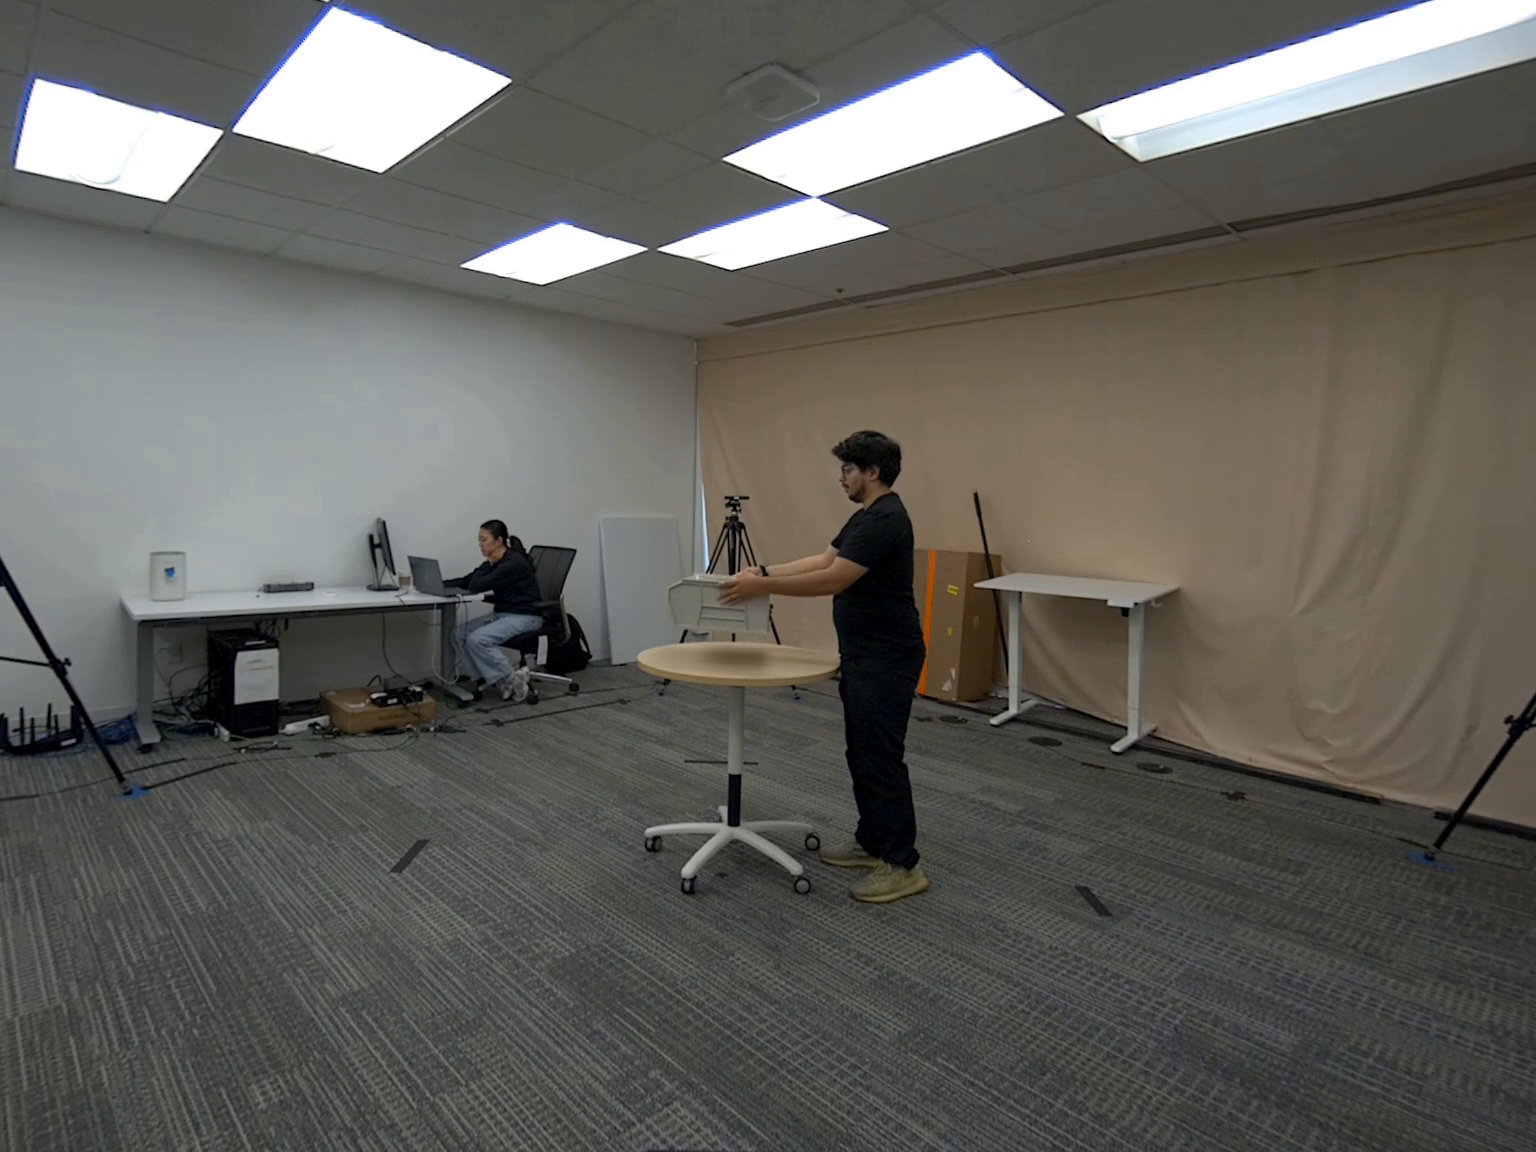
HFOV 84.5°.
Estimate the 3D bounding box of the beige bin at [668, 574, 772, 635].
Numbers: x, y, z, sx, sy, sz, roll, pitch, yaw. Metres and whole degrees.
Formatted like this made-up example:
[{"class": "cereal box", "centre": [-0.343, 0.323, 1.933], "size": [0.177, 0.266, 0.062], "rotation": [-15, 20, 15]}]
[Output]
[{"class": "beige bin", "centre": [-0.185, 0.103, 3.191], "size": [0.378, 0.189, 0.422], "rotation": [4, 3, 1]}]
